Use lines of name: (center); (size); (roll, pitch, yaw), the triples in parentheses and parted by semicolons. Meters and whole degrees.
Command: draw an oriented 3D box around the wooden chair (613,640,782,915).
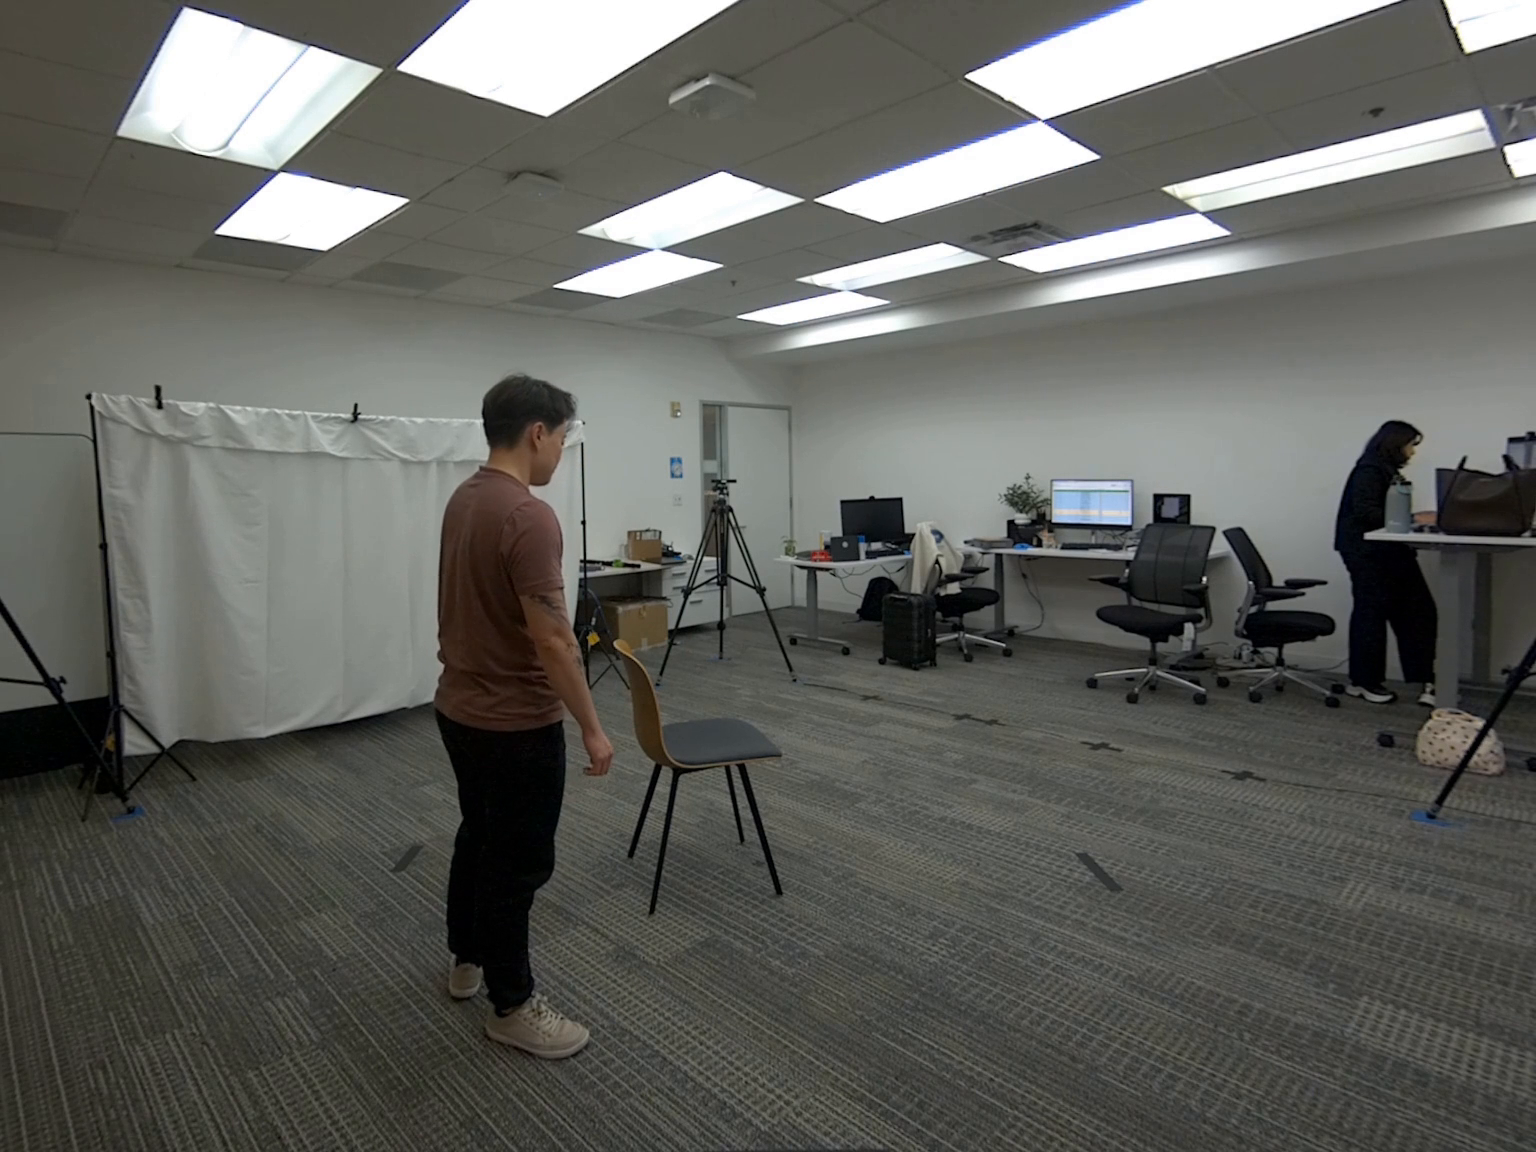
wooden chair: (-0.237, 0.637, 2.996); (0.516, 0.873, 0.487); (-6, 5, -16)
